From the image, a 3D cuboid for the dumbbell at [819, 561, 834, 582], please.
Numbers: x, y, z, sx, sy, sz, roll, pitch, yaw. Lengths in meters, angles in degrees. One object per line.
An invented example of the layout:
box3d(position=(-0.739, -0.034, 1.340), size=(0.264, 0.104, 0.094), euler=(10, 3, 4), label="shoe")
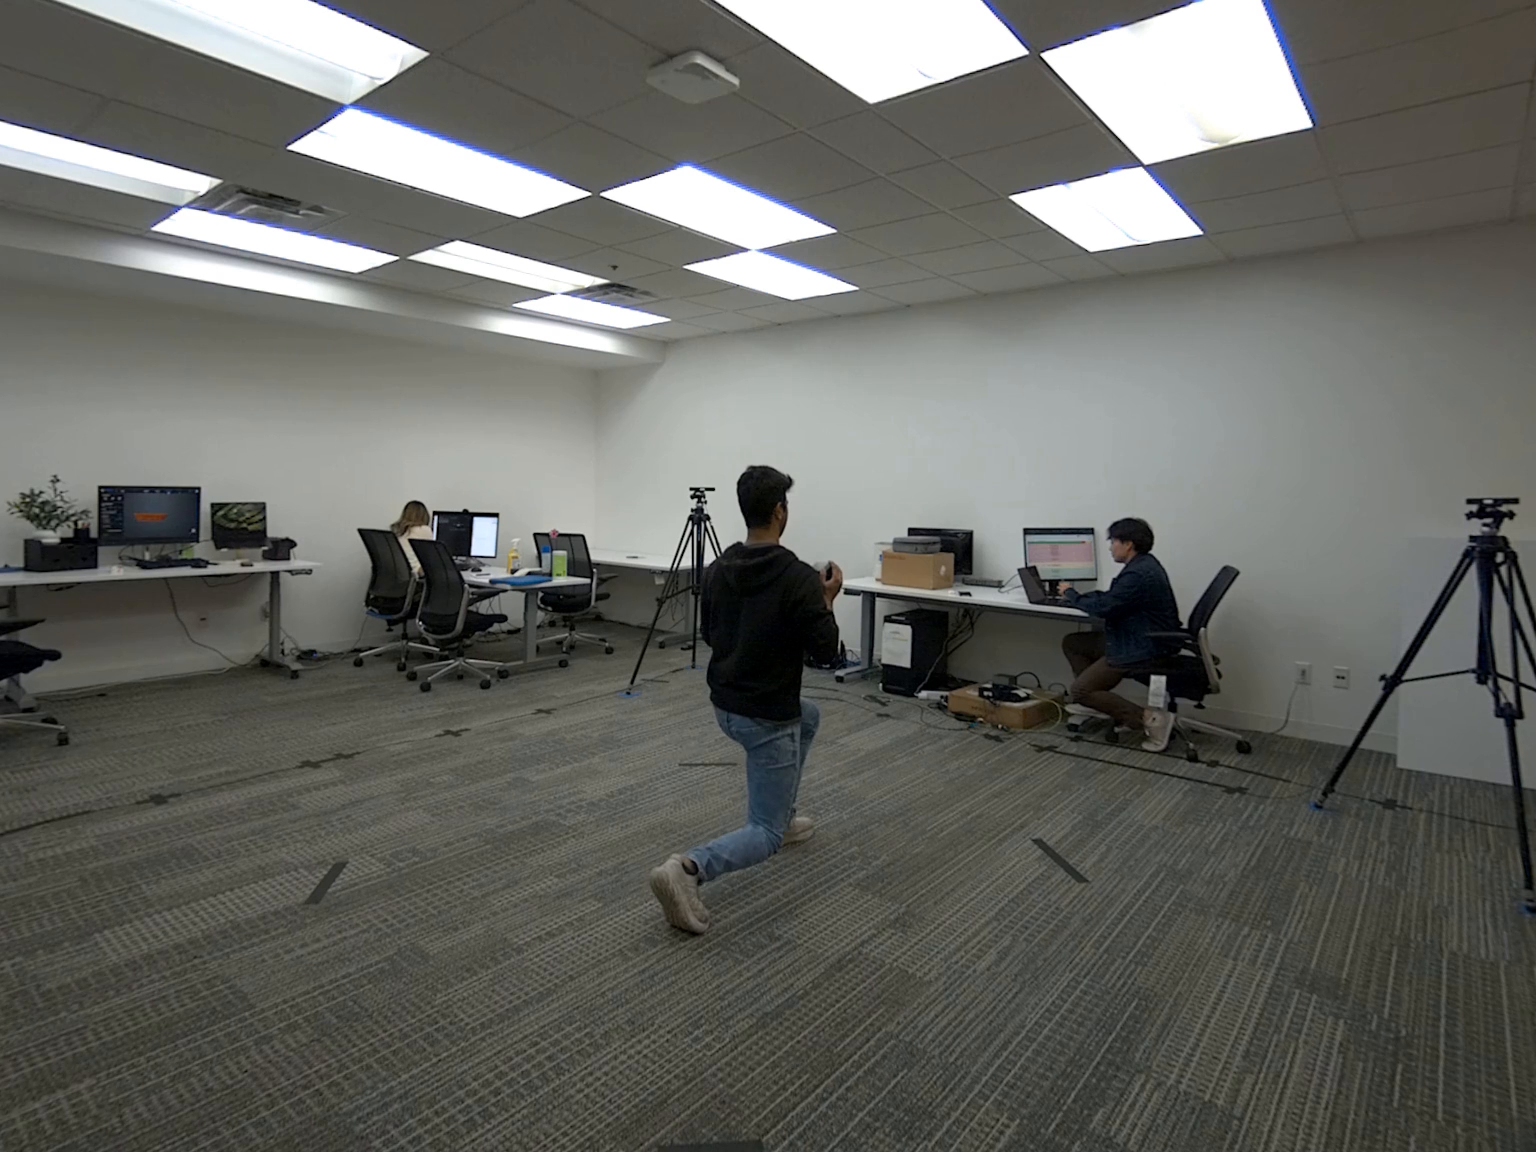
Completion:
box3d(position=(0.115, 0.000, 3.319), size=(0.303, 0.123, 0.105), euler=(1, -2, 37), label="dumbbell")
